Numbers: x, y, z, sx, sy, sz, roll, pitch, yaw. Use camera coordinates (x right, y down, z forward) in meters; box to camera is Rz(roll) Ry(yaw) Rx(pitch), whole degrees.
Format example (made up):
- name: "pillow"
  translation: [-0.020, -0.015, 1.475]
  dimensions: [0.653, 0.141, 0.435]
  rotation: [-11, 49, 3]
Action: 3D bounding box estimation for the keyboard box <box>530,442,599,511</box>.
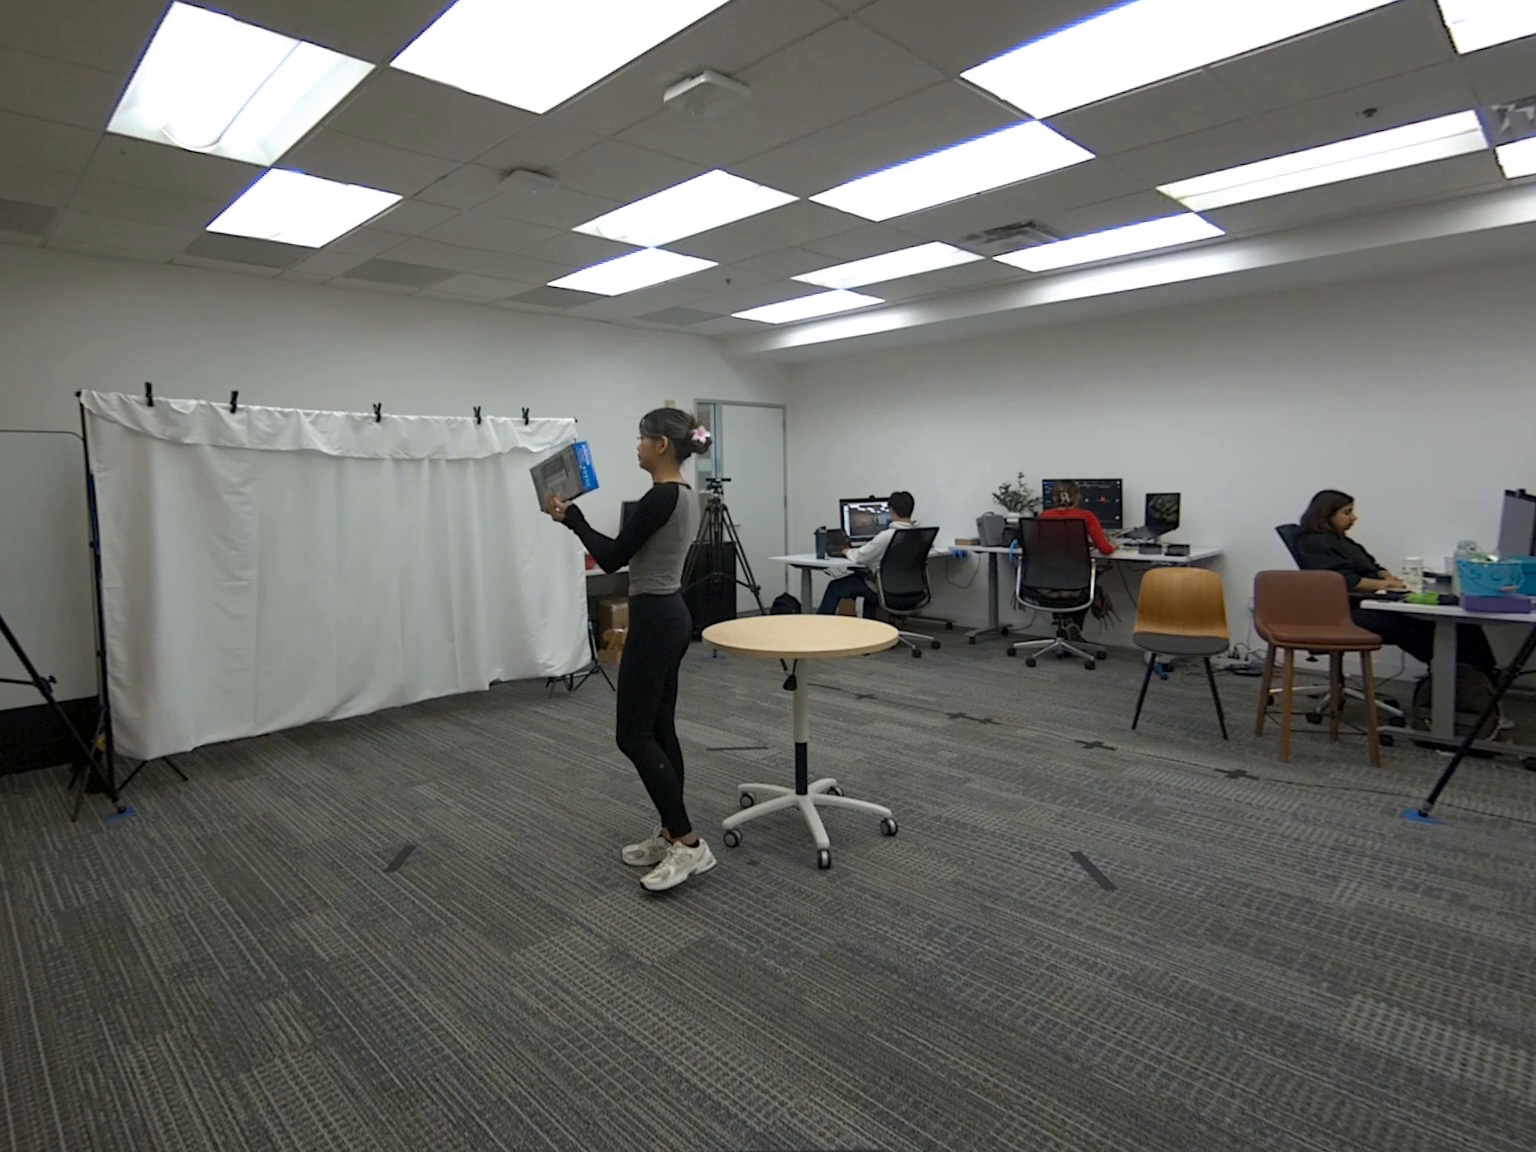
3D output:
- name: "keyboard box"
  translation: [-0.758, -0.362, 3.165]
  dimensions: [0.058, 0.176, 0.446]
  rotation: [-15, 2, -35]
